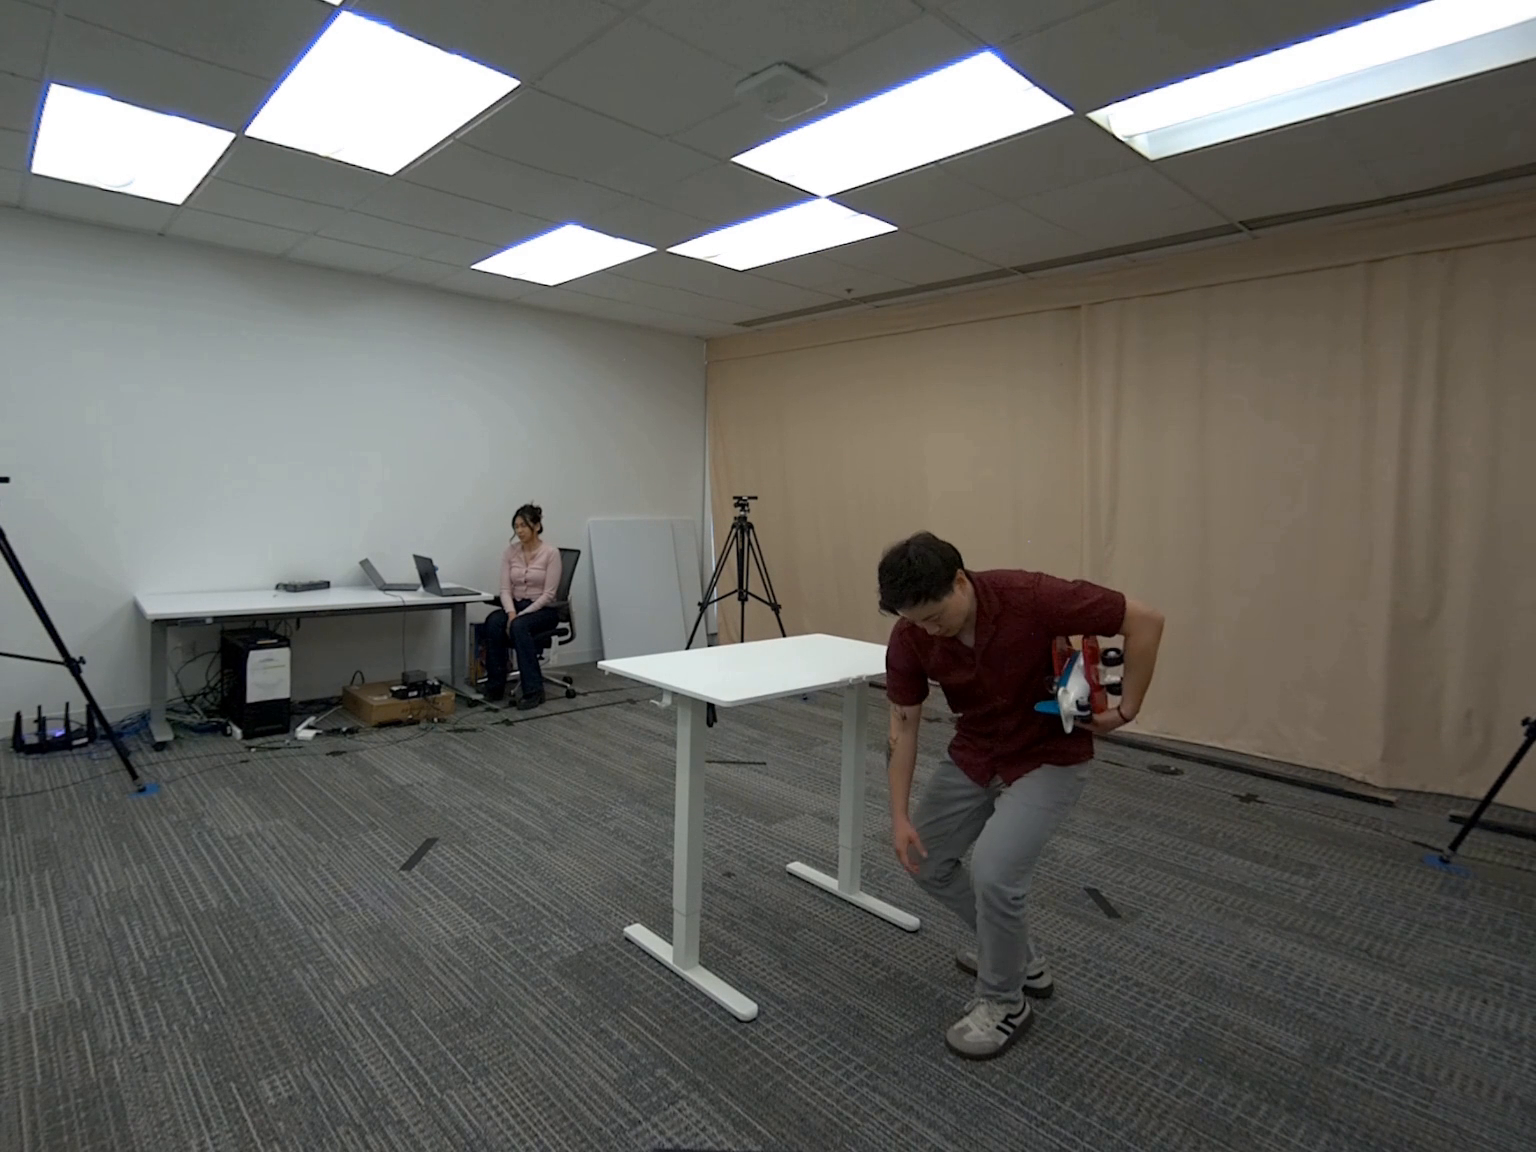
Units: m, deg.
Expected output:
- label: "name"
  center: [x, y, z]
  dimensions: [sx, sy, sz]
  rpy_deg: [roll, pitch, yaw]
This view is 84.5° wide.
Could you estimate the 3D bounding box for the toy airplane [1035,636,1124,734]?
- label: "toy airplane"
  center: [0.759, 0.259, 2.081]
  dimensions: [0.253, 0.251, 0.160]
  rpy_deg: [4, -1, -44]
